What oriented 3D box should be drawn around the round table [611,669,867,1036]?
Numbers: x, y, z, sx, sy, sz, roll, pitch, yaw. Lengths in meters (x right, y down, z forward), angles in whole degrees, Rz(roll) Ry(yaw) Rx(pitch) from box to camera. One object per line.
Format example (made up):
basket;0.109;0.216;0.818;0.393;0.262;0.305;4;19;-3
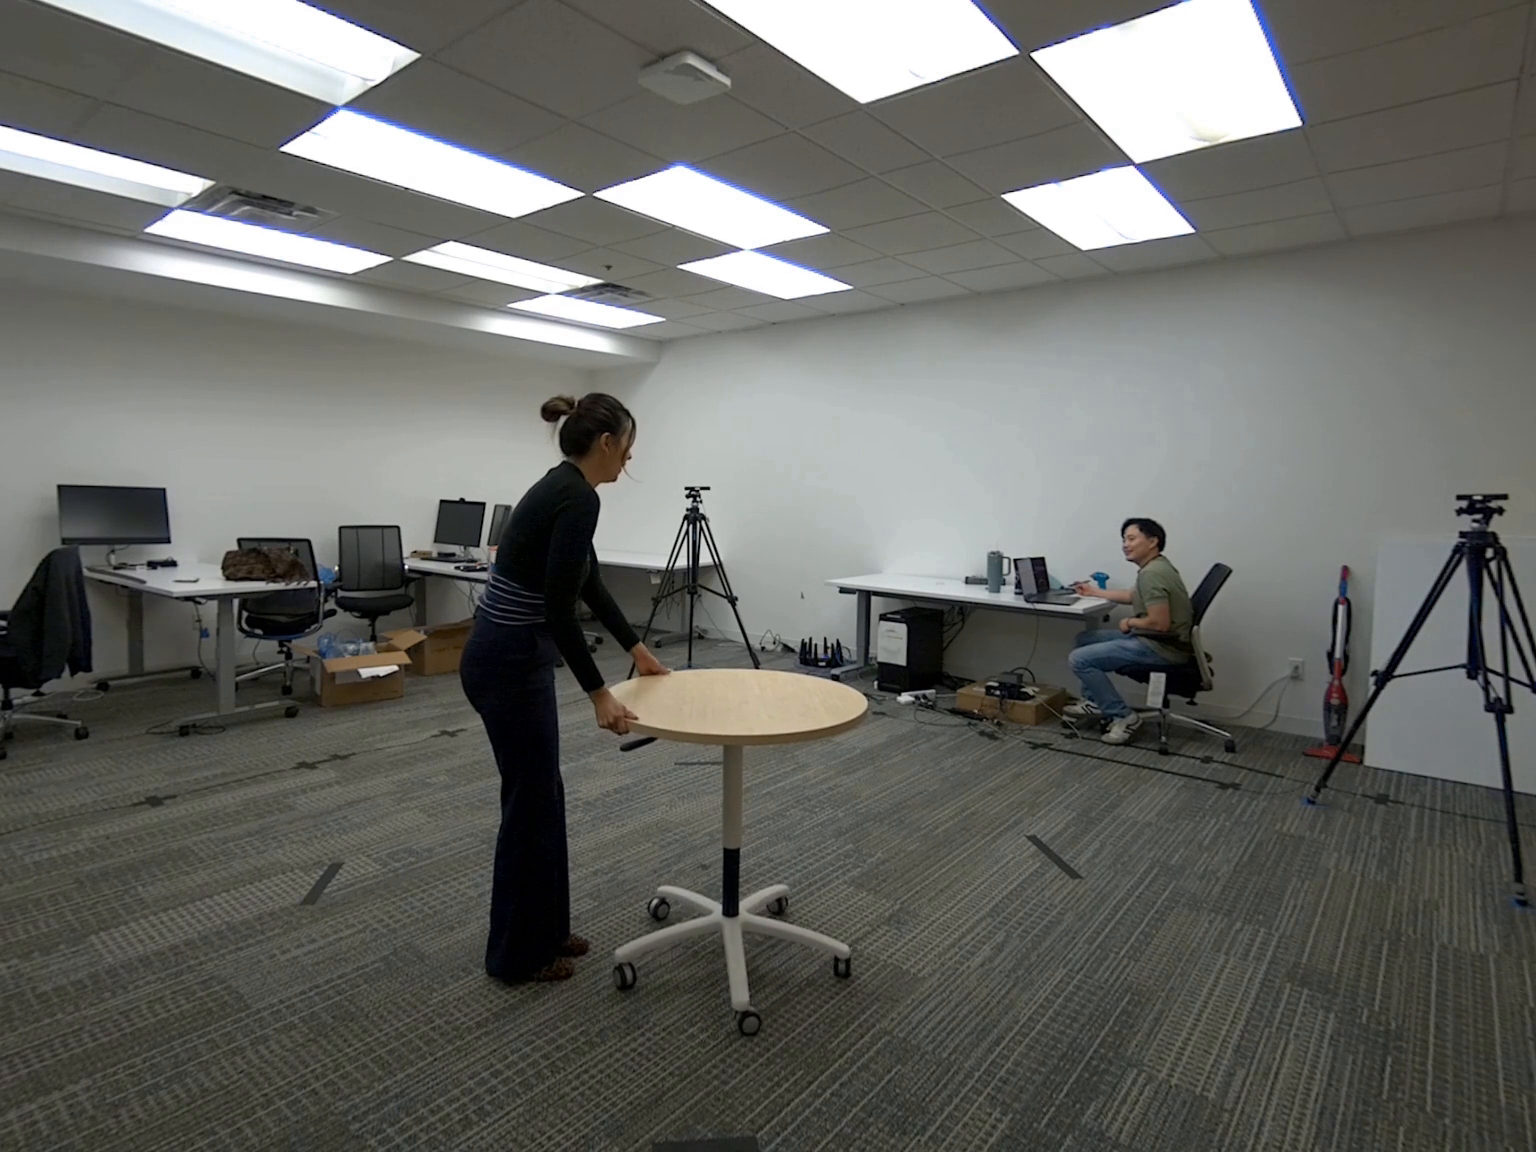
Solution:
round table;-0.108;0.741;2.479;0.763;0.791;0.768;1;4;-2
